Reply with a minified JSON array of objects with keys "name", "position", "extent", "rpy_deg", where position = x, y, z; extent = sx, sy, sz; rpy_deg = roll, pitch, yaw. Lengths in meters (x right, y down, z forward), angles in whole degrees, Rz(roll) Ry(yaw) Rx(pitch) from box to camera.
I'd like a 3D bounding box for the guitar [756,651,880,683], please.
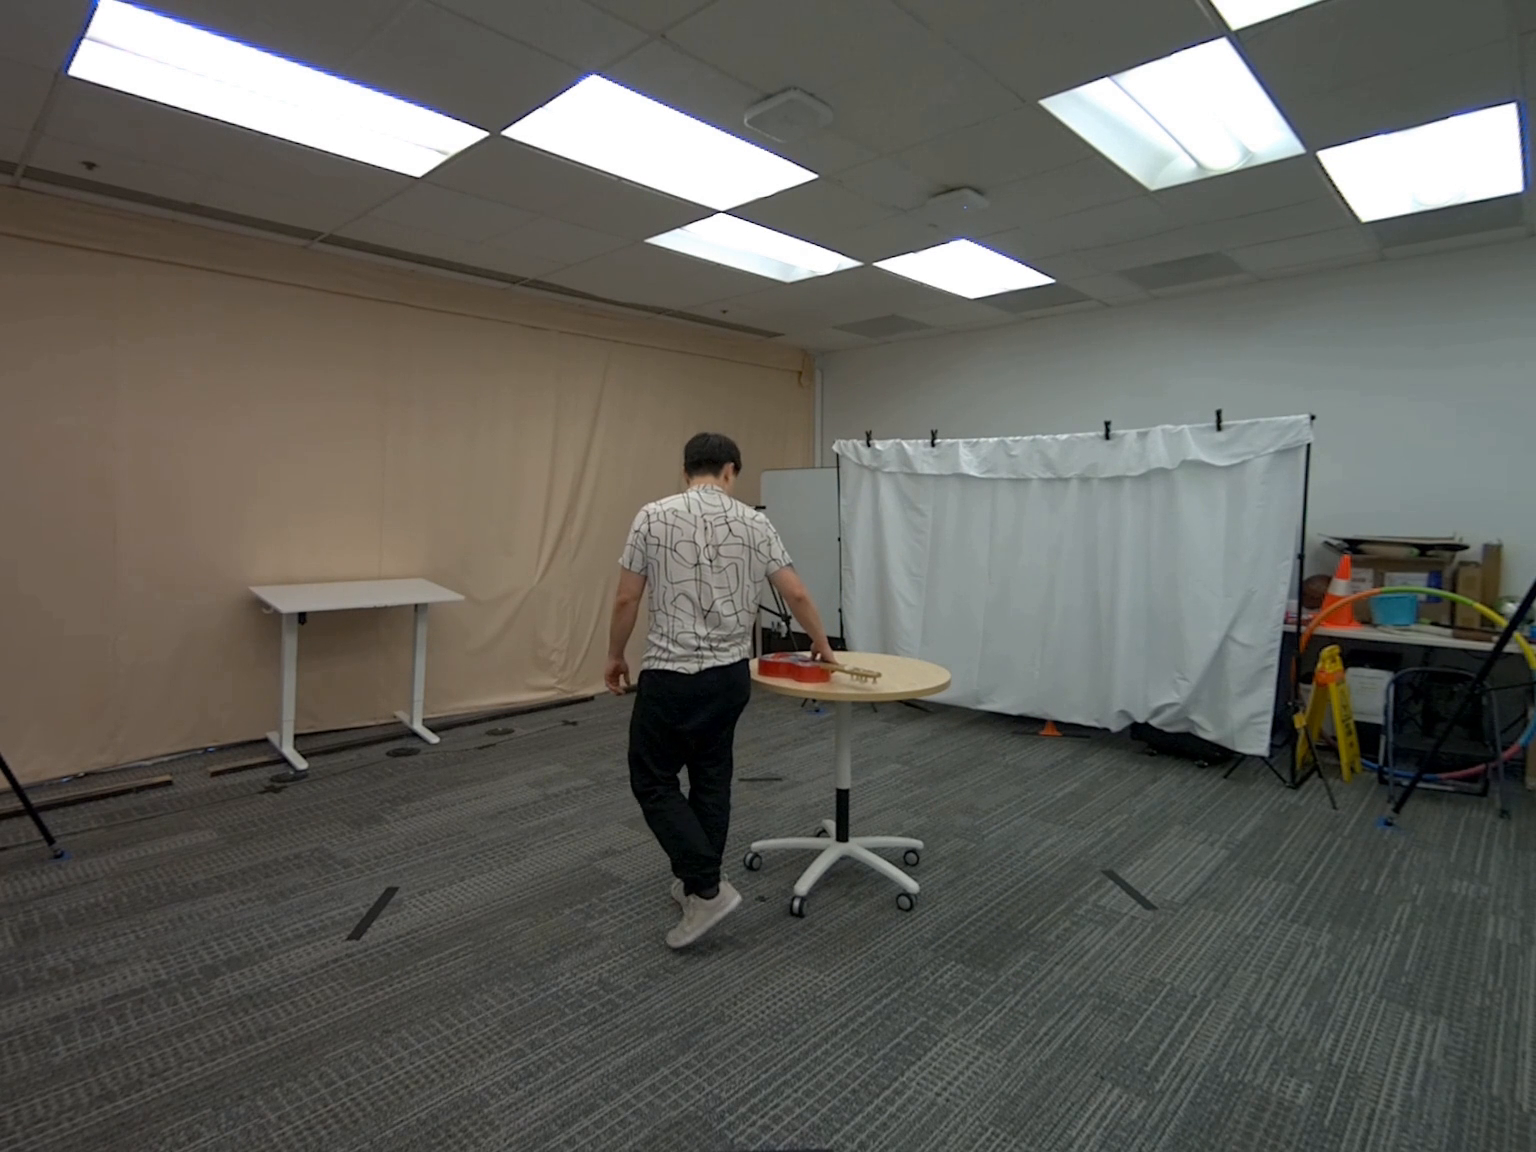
[{"name":"guitar","position":[0.167,0.333,2.910],"extent":[0.187,0.070,0.514],"rpy_deg":[-4,6,-36]}]
